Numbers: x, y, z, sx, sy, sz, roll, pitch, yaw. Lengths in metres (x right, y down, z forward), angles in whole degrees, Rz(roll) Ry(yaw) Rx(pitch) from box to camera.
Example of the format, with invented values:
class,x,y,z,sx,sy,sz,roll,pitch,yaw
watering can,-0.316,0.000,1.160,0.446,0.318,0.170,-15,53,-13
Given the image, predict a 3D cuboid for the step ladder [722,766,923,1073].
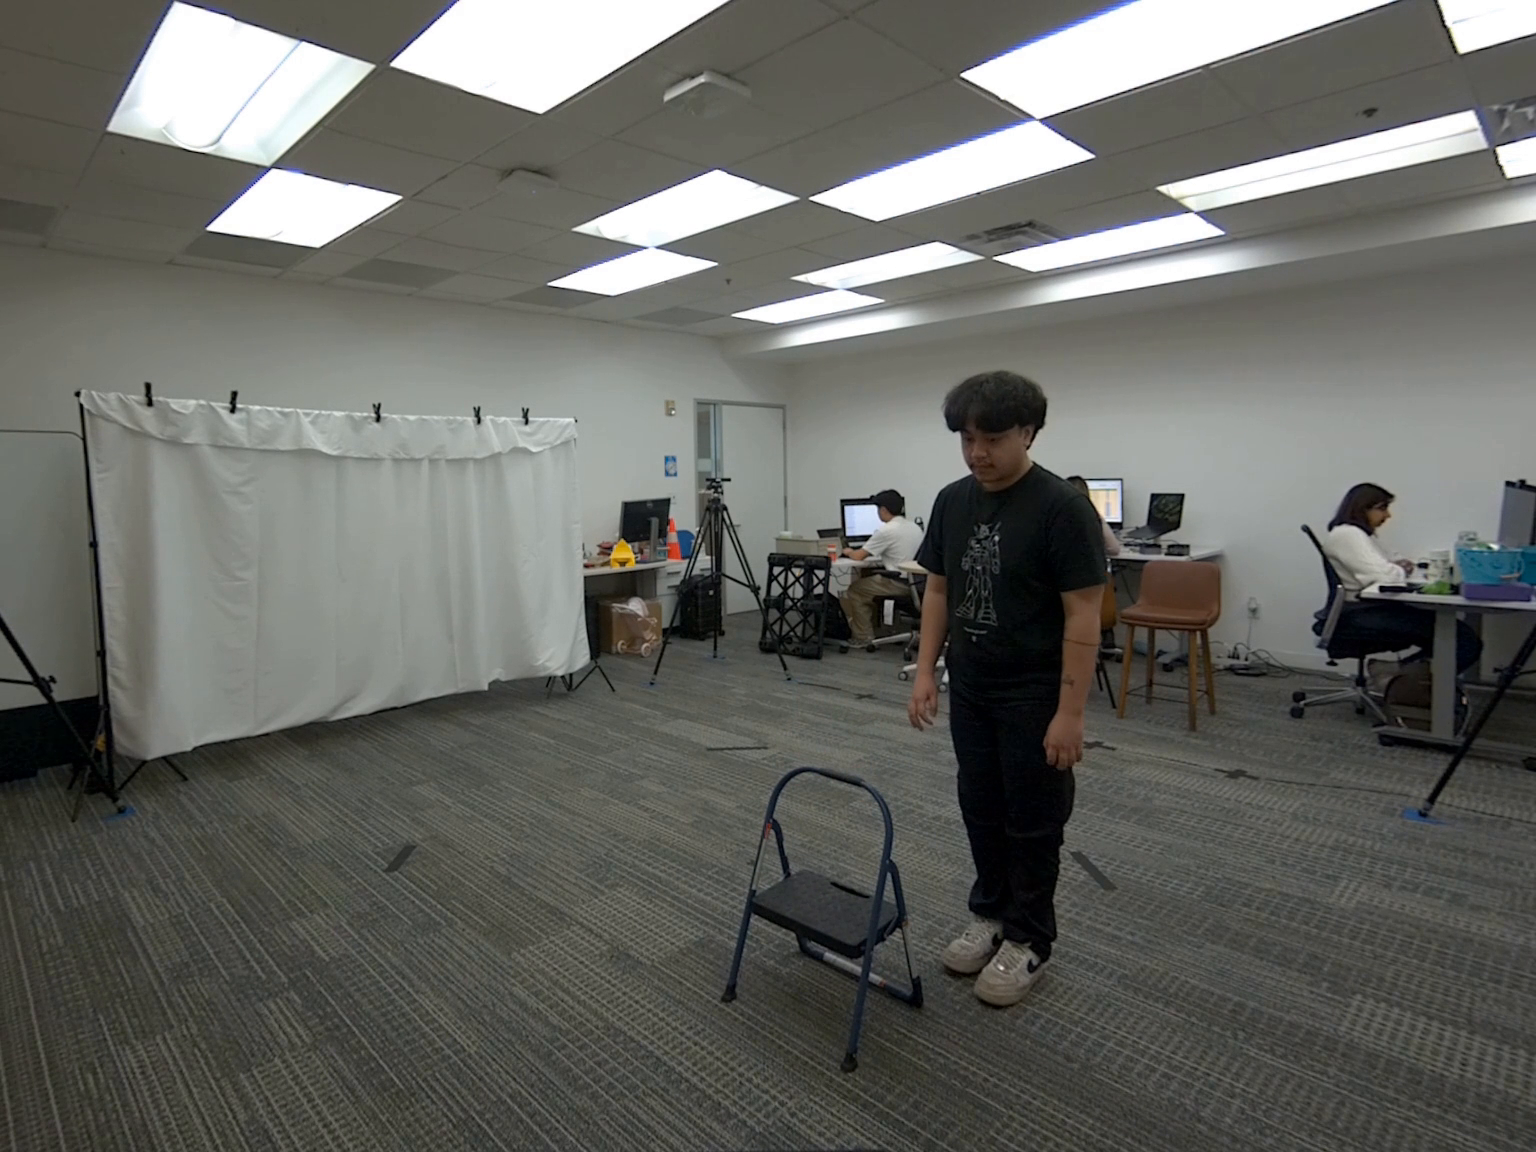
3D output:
class,x,y,z,sx,sy,sz,roll,pitch,yaw
step ladder,0.146,0.840,2.250,0.444,0.603,0.340,4,7,42
